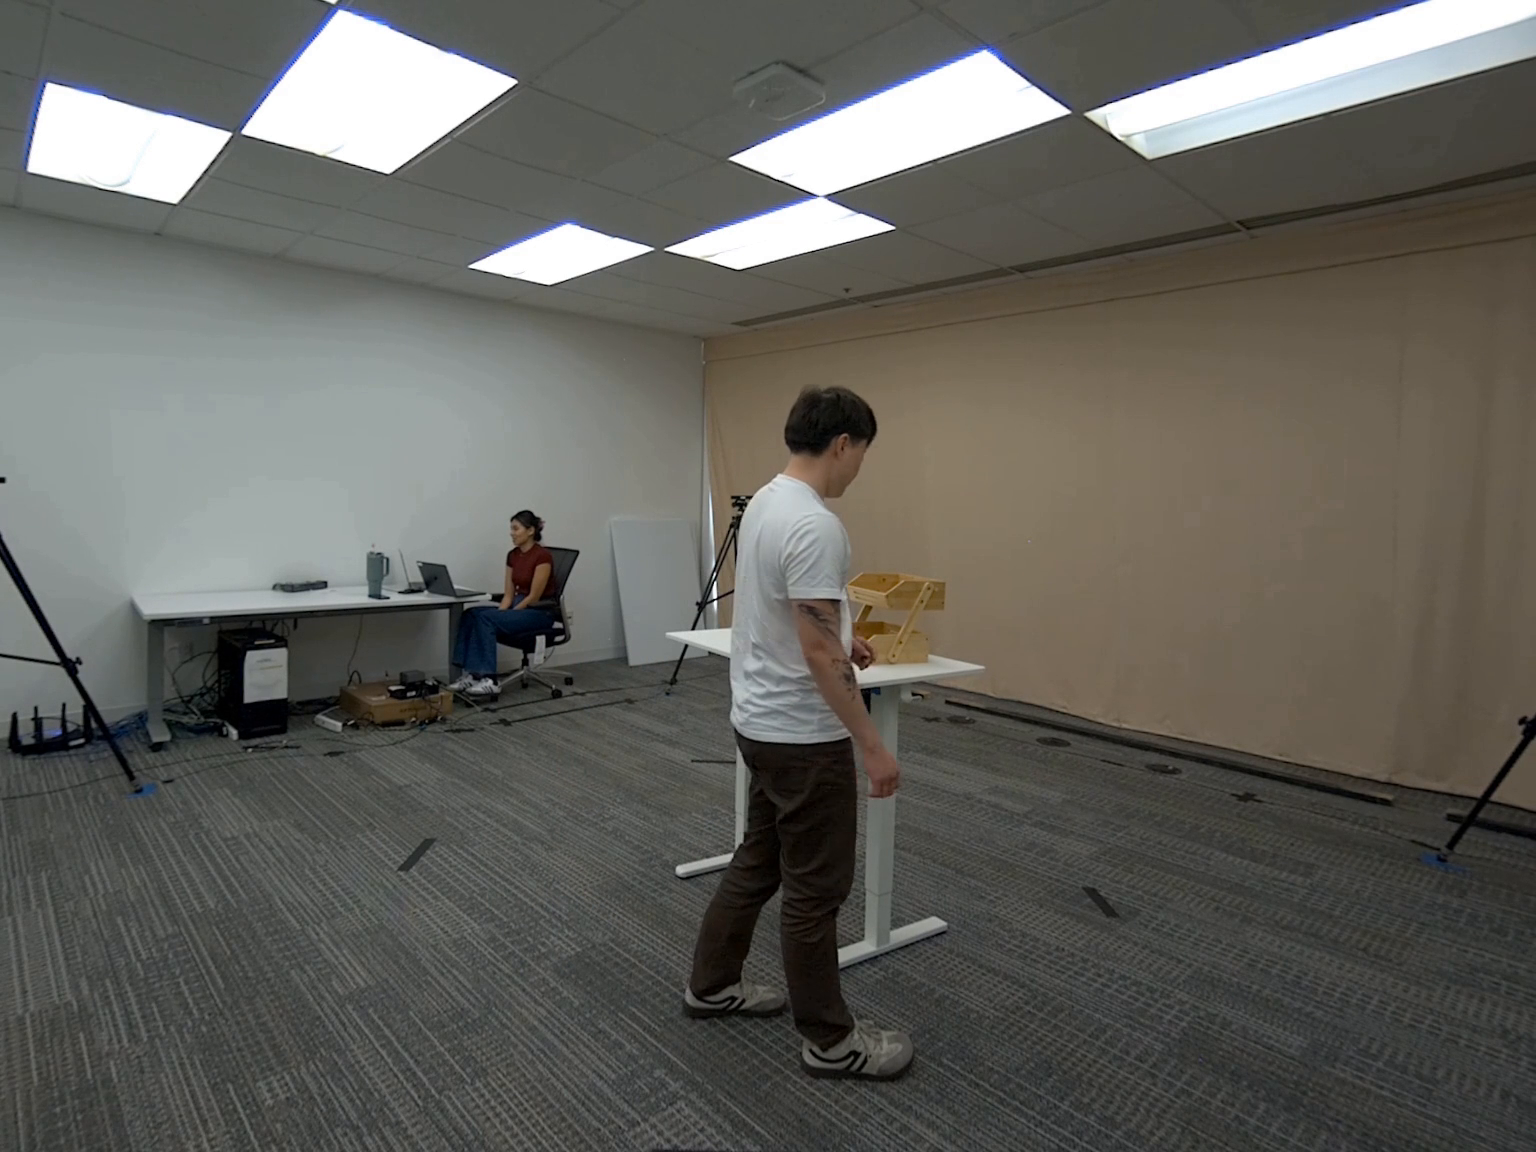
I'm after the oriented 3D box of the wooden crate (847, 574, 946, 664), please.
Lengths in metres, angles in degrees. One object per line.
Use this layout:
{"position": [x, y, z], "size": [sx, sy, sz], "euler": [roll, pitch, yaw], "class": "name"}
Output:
{"position": [0.362, 0.133, 2.765], "size": [0.298, 0.272, 0.330], "euler": [1, 5, -19], "class": "wooden crate"}
